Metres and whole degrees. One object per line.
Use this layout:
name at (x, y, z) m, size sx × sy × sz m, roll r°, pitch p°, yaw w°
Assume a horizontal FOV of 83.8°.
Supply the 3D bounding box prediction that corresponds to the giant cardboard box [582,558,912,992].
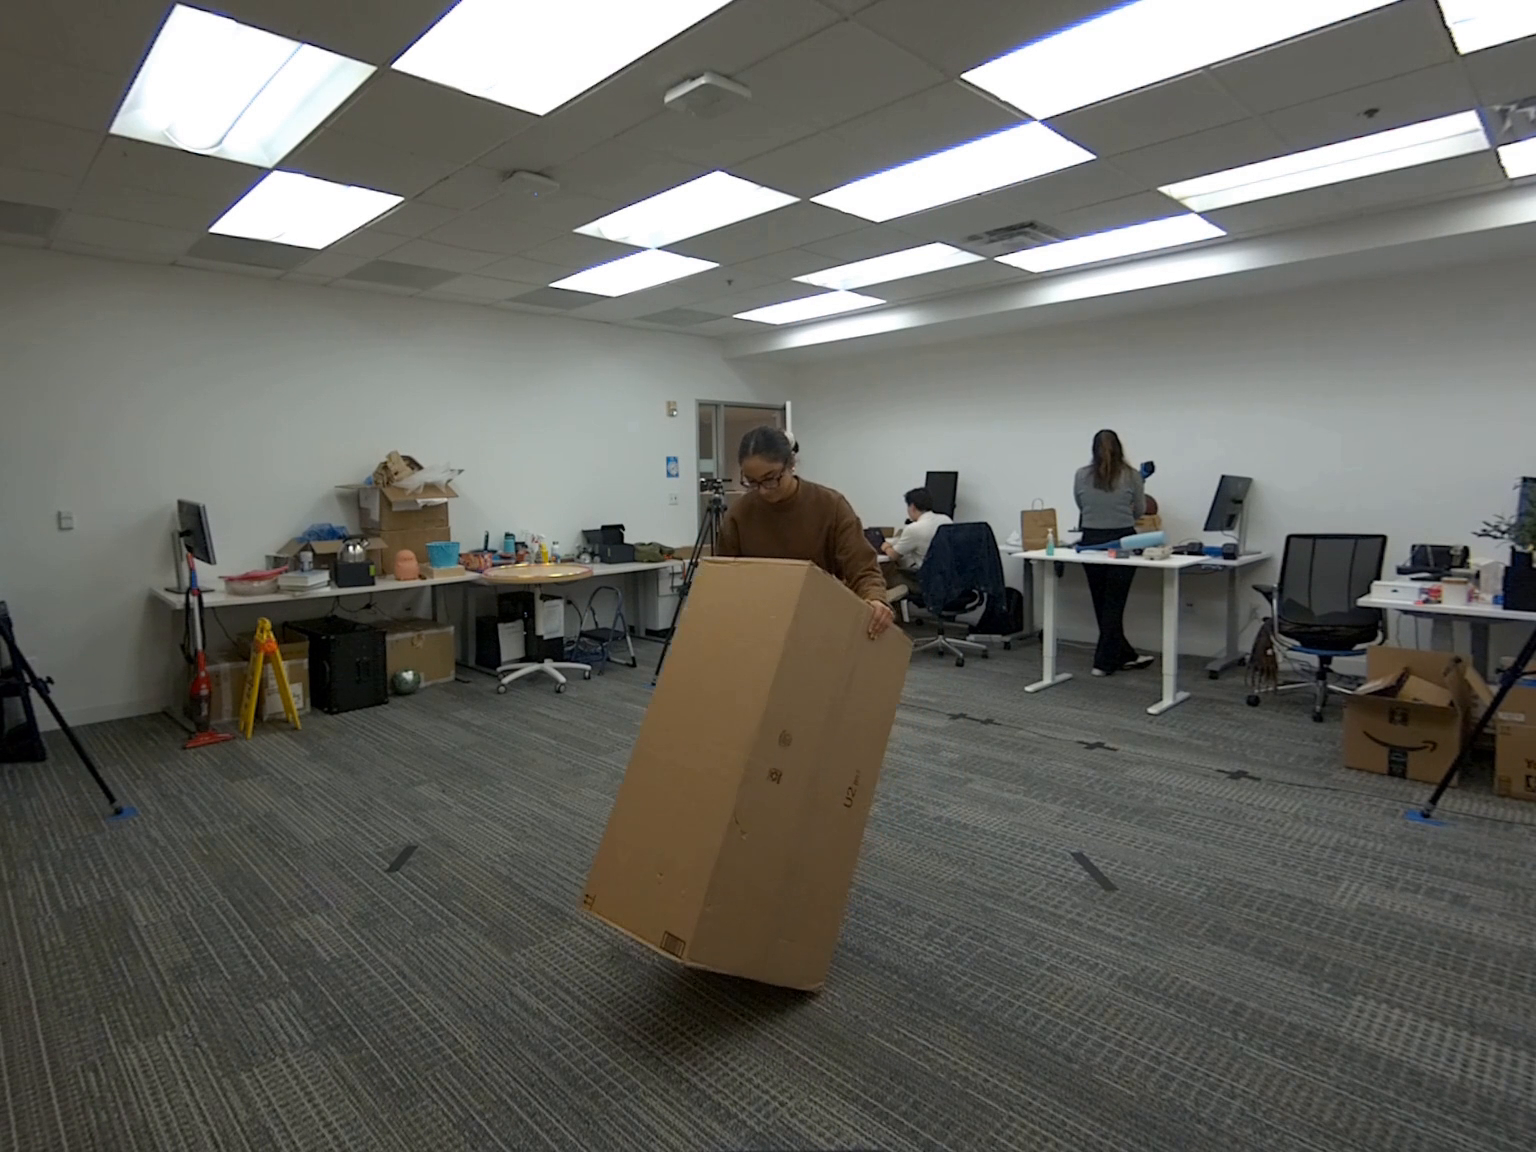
giant cardboard box at (-0.026, 0.538, 2.432) m, size 0.439 × 1.035 × 0.555 m, roll 0°, pitch -24°, yaw 45°
